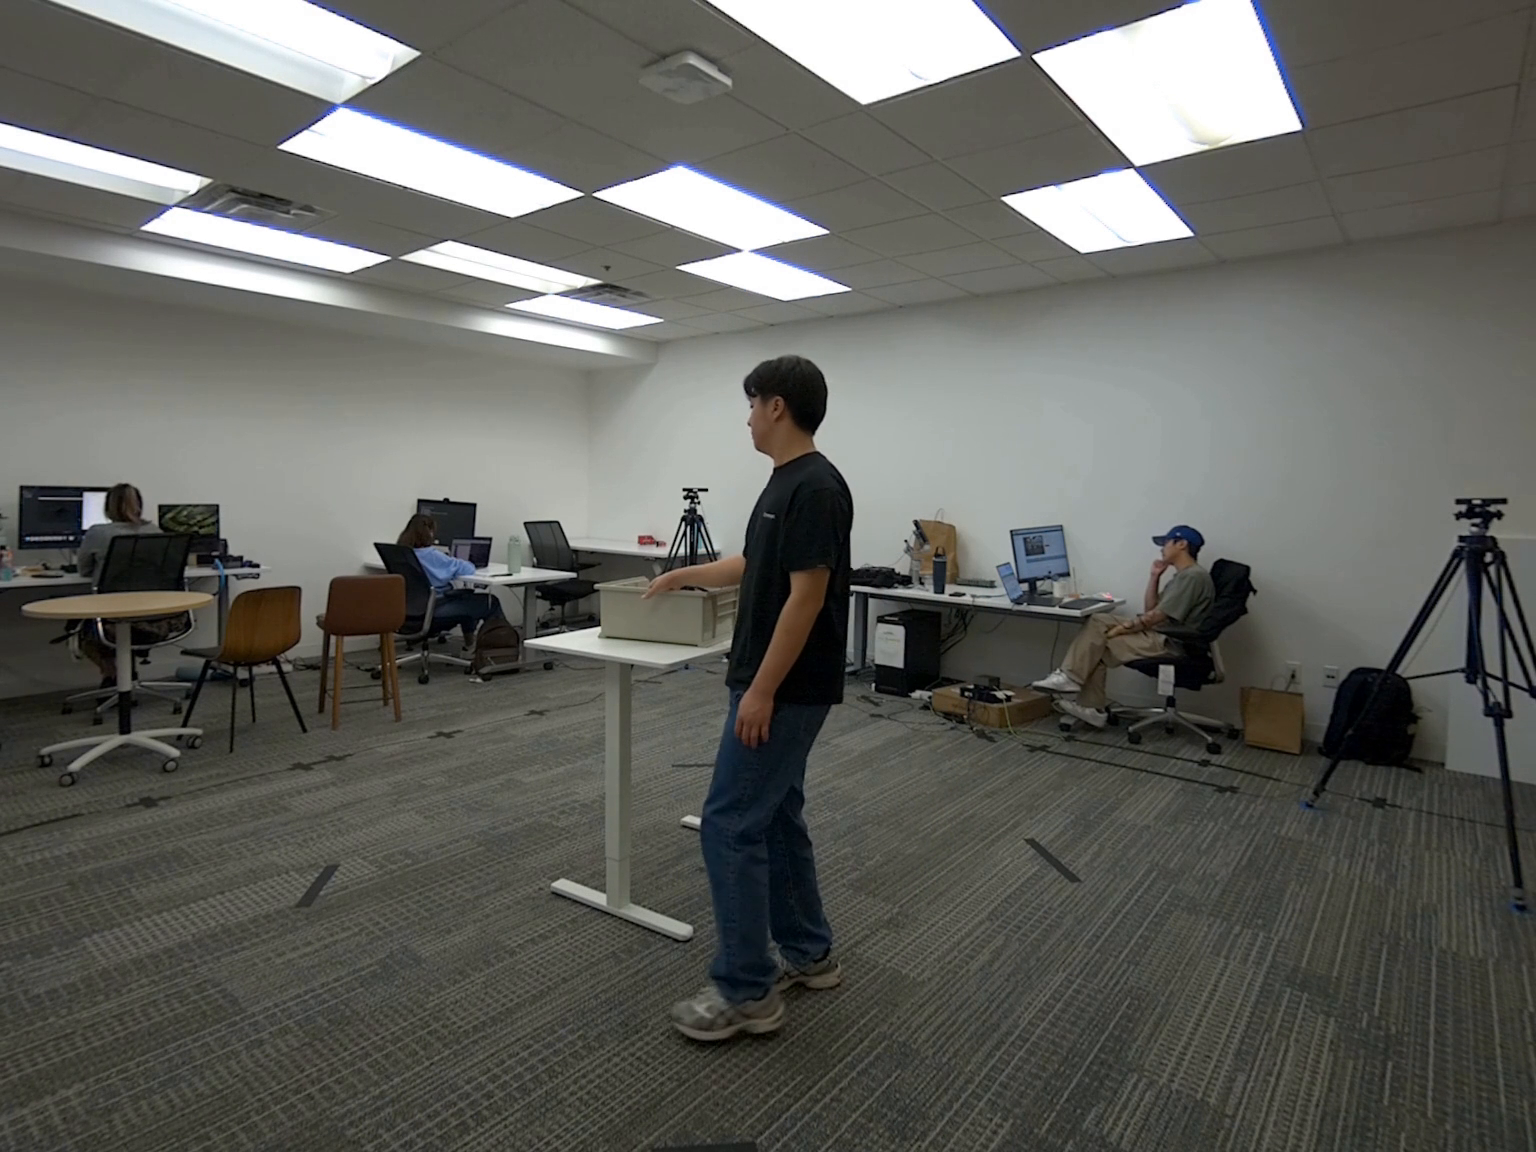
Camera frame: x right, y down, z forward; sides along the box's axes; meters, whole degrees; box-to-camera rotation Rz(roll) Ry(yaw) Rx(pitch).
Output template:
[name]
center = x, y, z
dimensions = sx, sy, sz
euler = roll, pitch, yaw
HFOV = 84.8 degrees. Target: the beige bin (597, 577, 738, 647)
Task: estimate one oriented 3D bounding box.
[beige bin]
center = -0.330, 0.115, 2.942
dimensions = 0.433, 0.188, 0.370
euler = 3, 7, 23
